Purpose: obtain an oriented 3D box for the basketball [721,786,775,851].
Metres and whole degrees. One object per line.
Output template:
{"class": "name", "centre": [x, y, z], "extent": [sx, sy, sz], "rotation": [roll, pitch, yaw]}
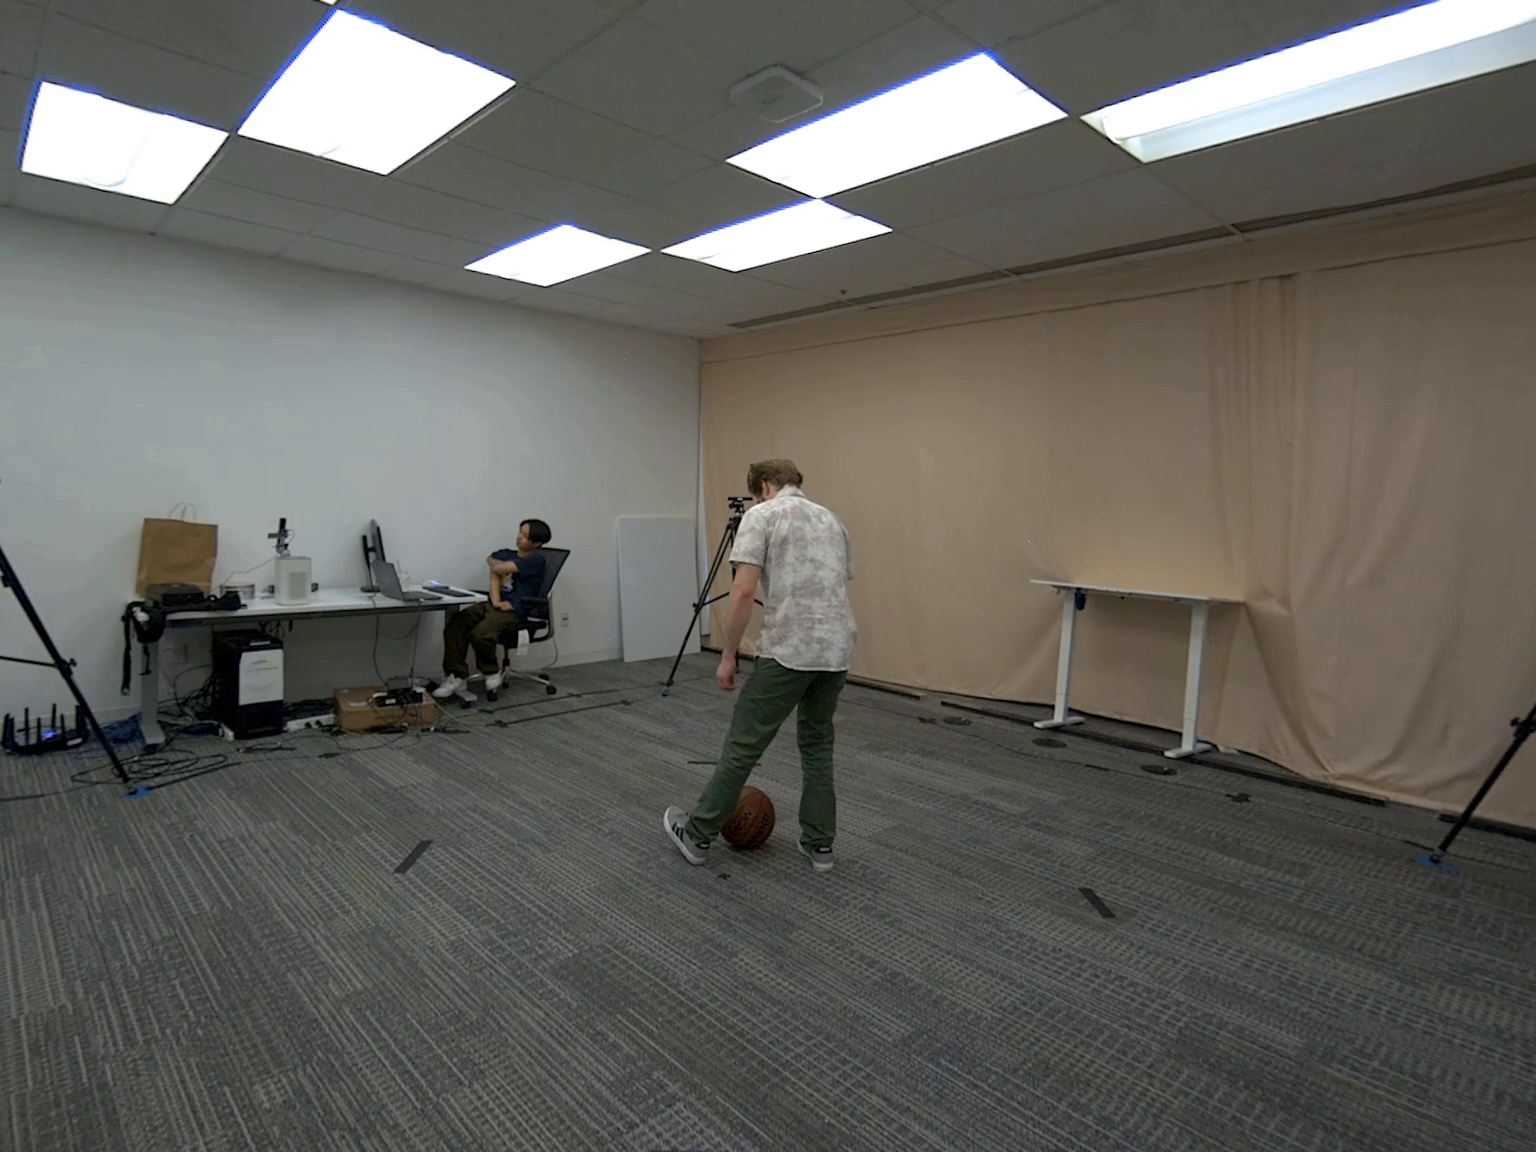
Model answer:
{"class": "basketball", "centre": [-0.098, 0.959, 3.373], "extent": [0.236, 0.235, 0.237], "rotation": [1, 4, -1]}
